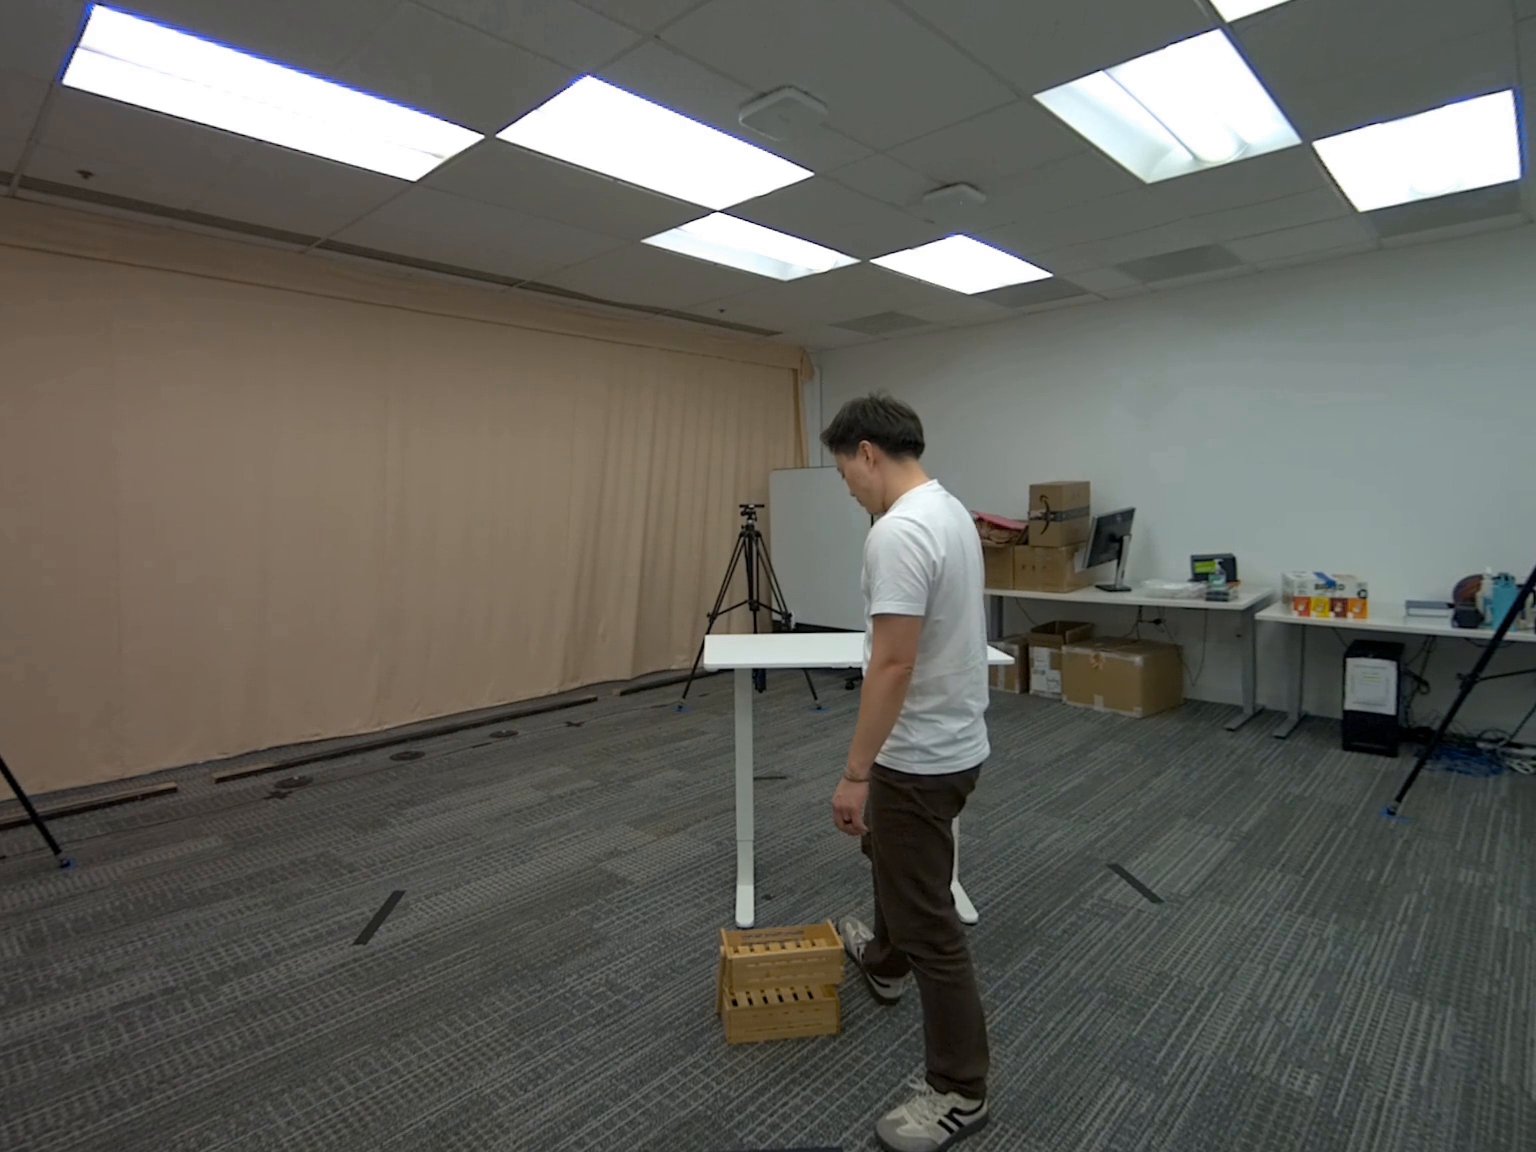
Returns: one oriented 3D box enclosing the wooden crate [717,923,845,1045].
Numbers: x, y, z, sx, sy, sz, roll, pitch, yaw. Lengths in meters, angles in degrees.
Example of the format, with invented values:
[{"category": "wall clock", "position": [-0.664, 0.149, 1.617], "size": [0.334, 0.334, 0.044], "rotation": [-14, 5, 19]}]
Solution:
[{"category": "wooden crate", "position": [0.030, 1.064, 2.284], "size": [0.321, 0.272, 0.306], "rotation": [-2, 5, -10]}]
